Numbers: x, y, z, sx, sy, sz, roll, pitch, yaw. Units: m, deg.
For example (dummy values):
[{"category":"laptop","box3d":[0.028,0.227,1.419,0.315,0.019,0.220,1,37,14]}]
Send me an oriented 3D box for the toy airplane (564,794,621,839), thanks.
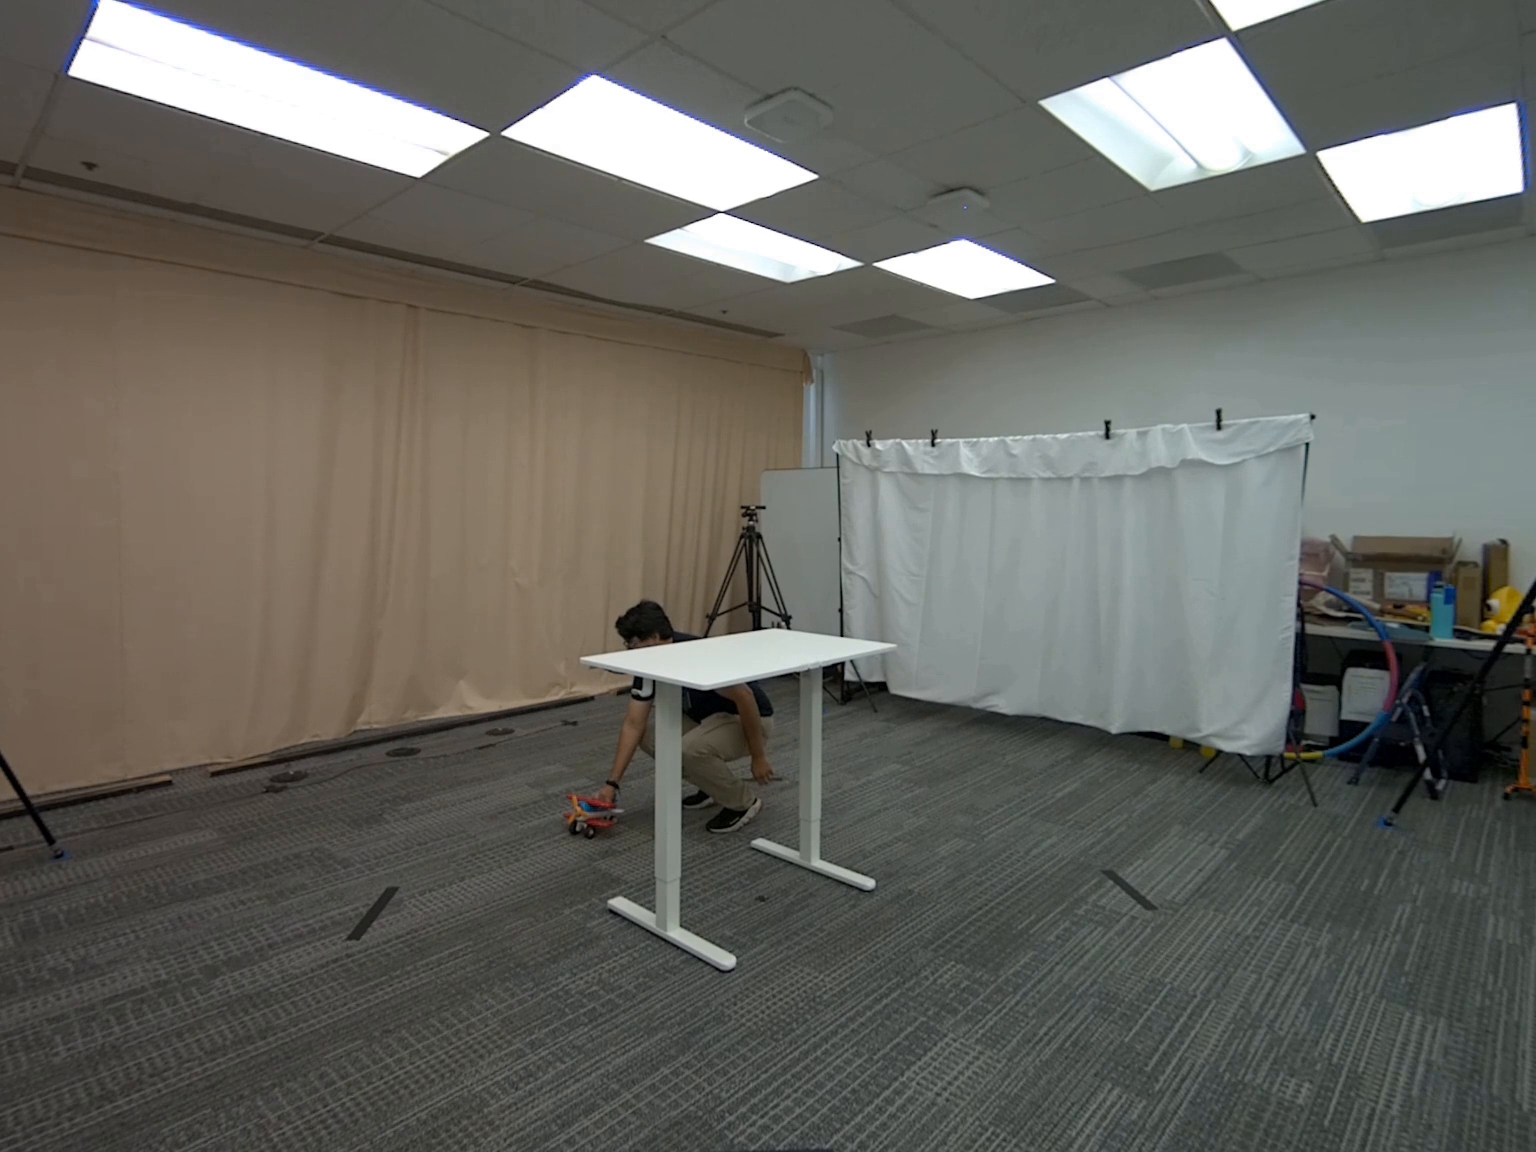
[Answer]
[{"category":"toy airplane","box3d":[-0.761,1.025,3.655,0.253,0.156,0.258,-1,5,5]}]
